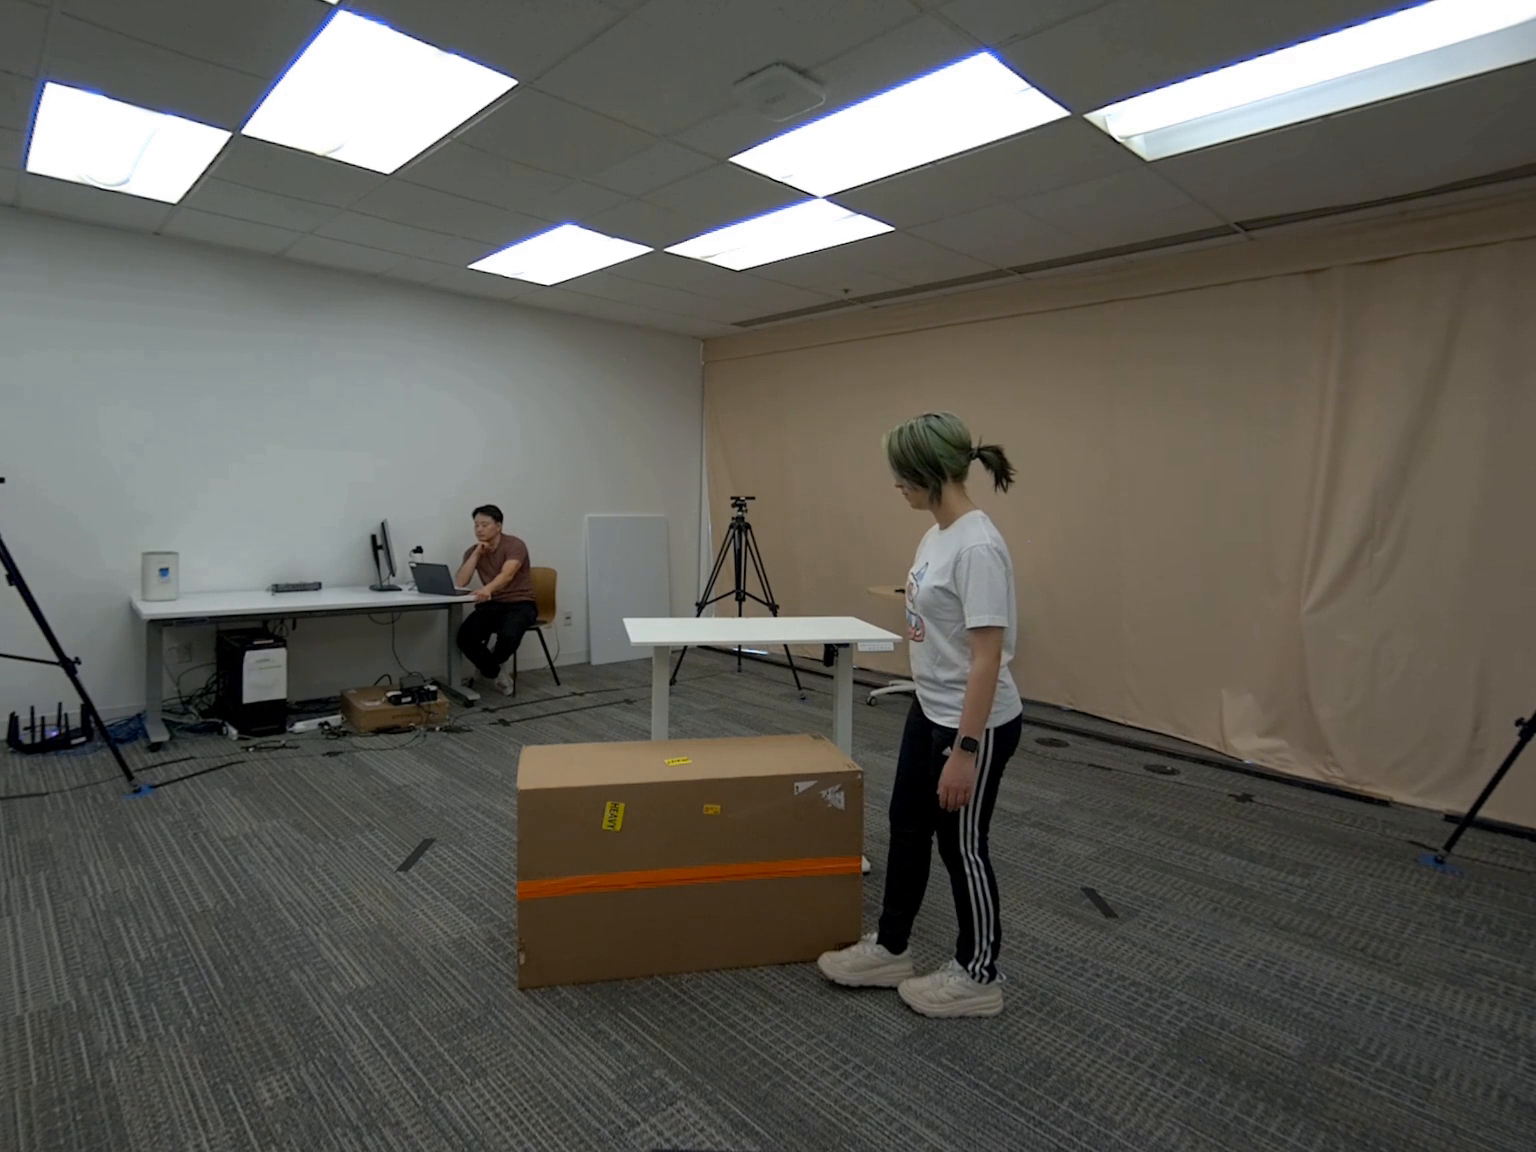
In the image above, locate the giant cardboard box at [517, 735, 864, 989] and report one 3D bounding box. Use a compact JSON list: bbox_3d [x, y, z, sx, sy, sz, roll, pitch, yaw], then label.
[{"bbox_3d":[-0.264,0.853,2.648,1.016,0.582,0.452,0,4,-13],"label":"giant cardboard box"}]
